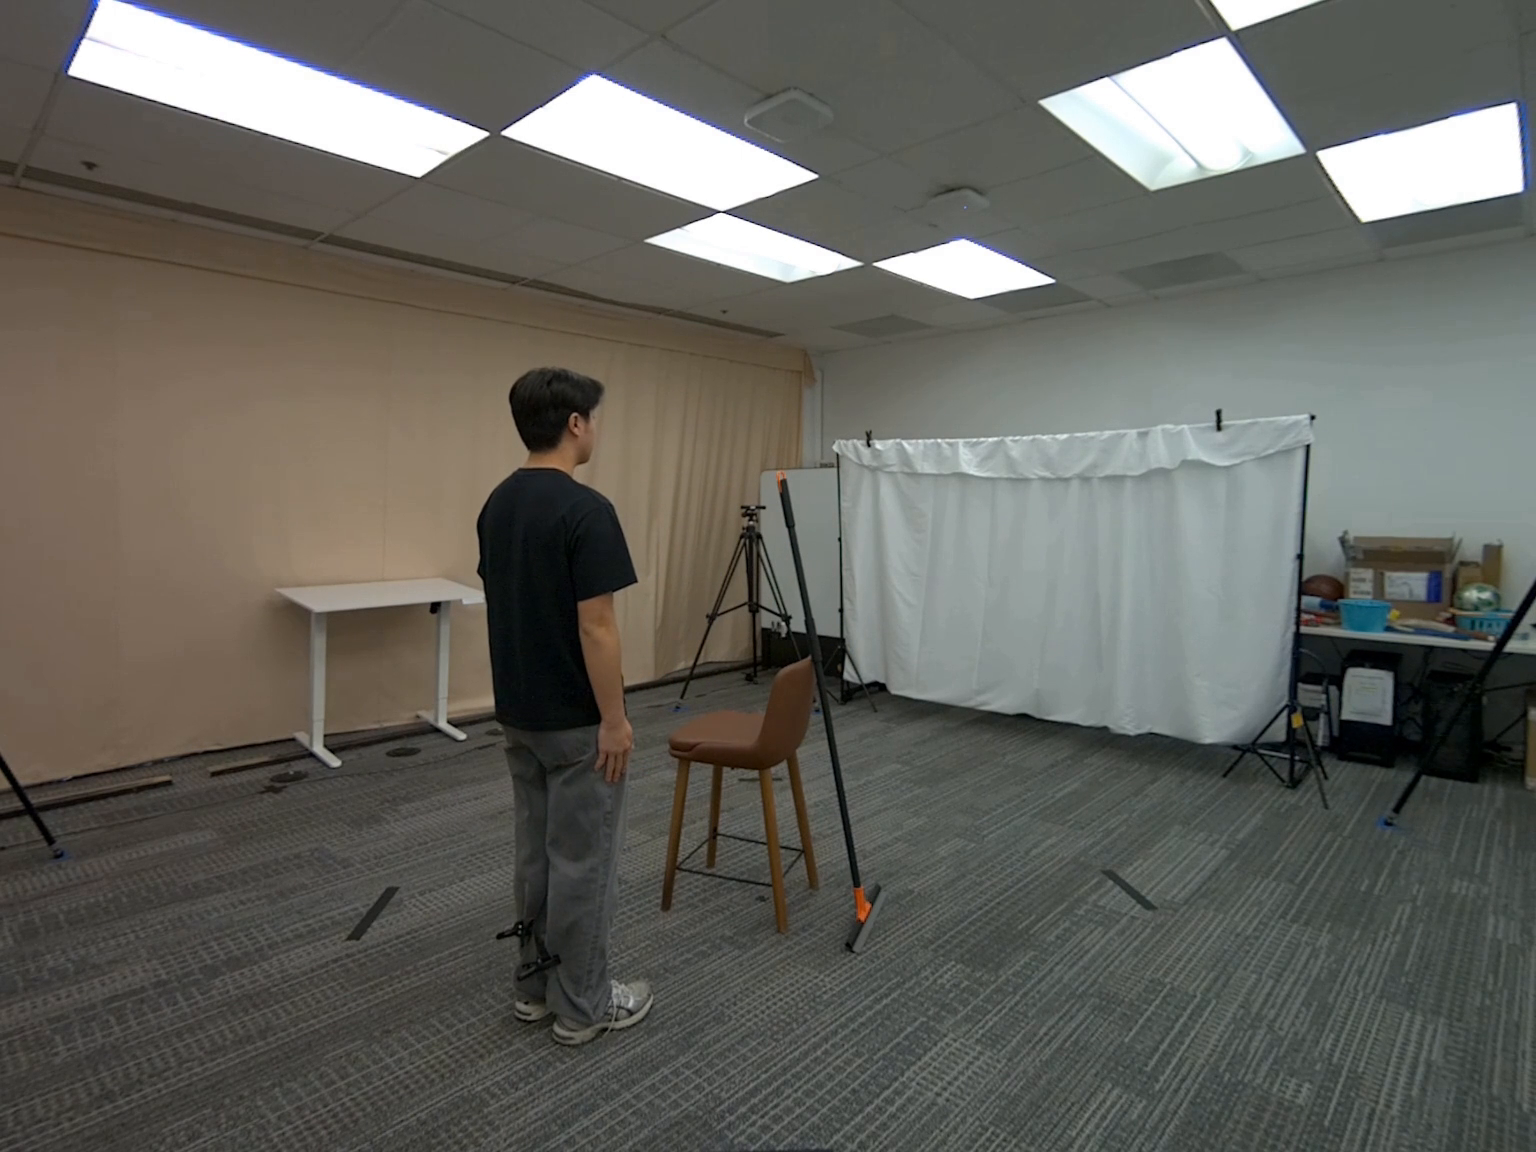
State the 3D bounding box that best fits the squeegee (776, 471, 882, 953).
[{"bbox_3d":[0.194,0.403,2.840,0.054,1.539,0.430,-10,-1,16],"label":"squeegee"}]
